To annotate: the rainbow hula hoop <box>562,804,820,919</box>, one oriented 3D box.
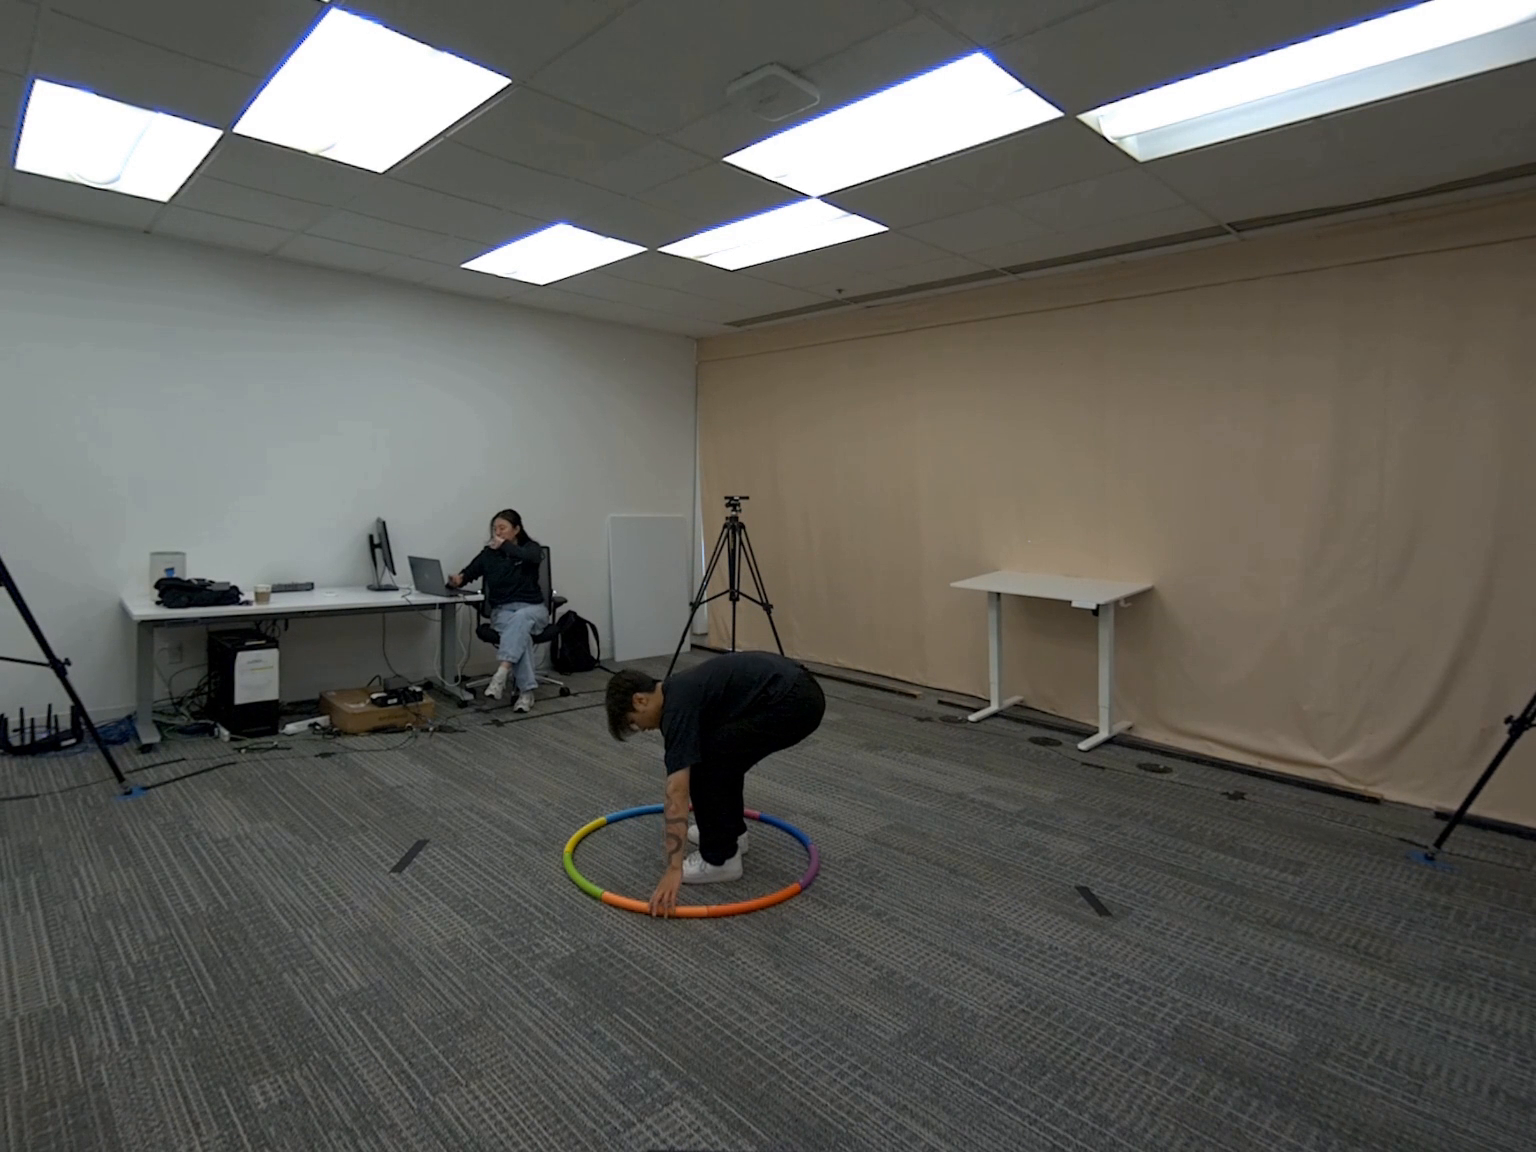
[{"bbox_3d":[-0.299,1.056,3.263,0.978,0.035,0.982,2,5,-1],"label":"rainbow hula hoop"}]
